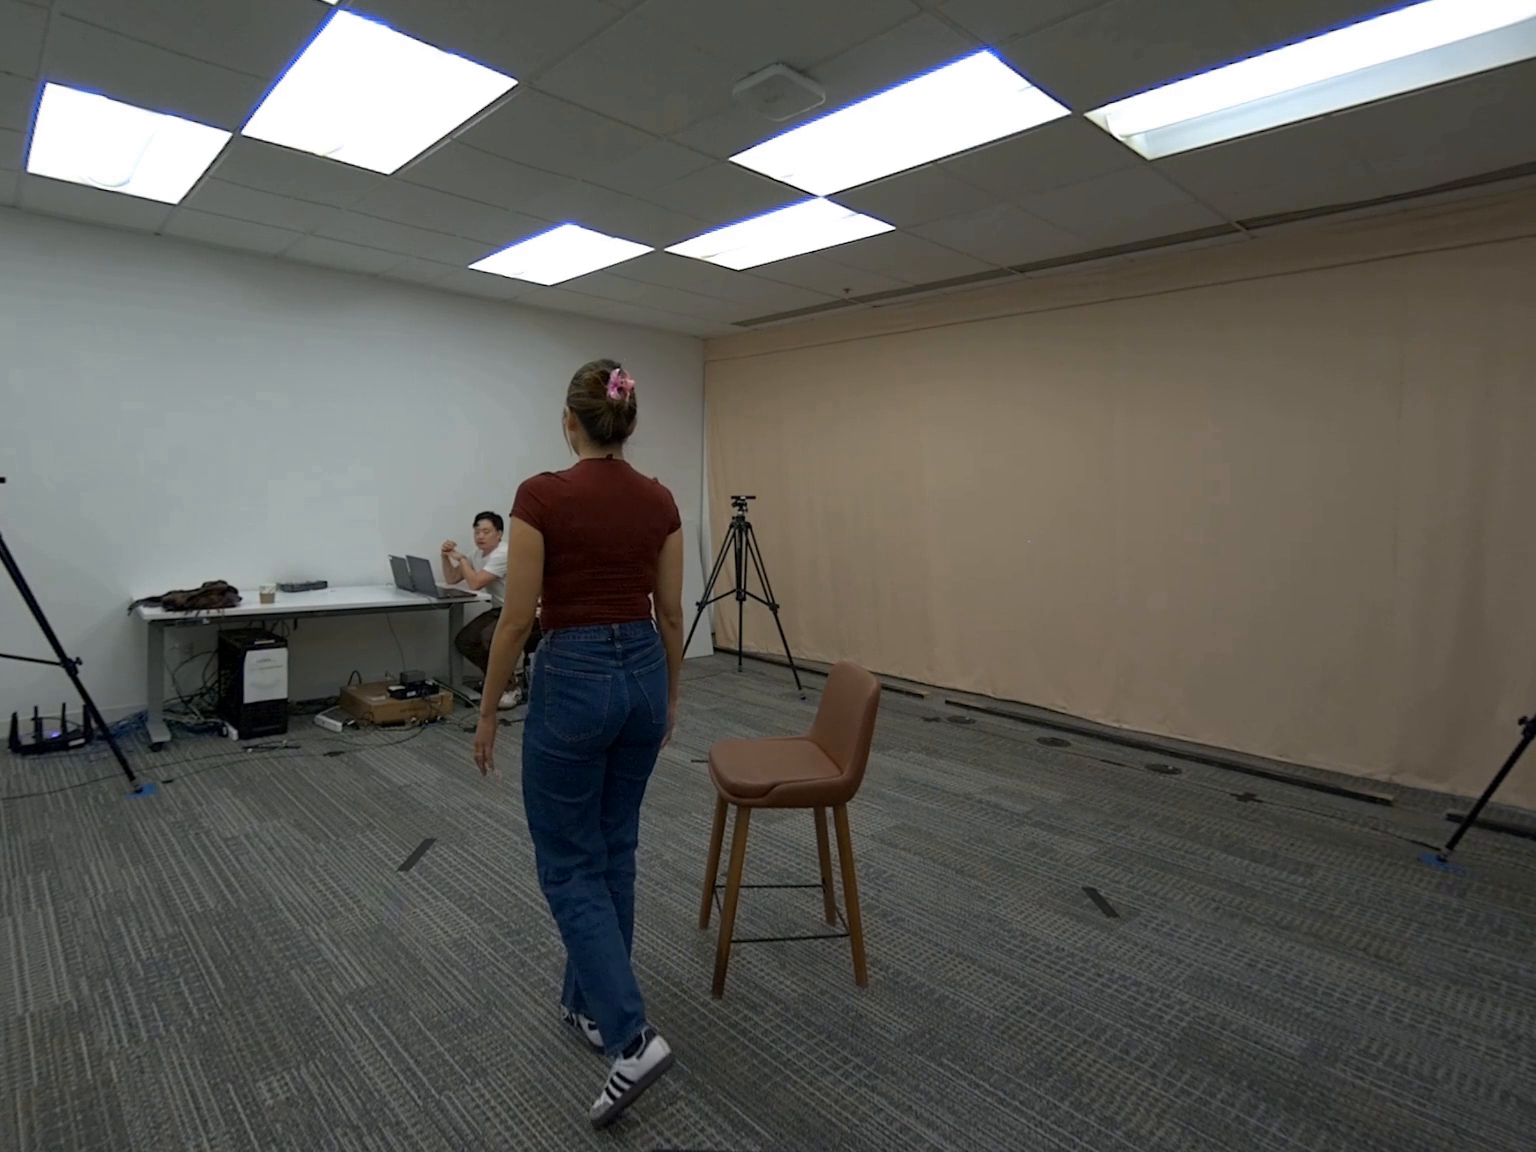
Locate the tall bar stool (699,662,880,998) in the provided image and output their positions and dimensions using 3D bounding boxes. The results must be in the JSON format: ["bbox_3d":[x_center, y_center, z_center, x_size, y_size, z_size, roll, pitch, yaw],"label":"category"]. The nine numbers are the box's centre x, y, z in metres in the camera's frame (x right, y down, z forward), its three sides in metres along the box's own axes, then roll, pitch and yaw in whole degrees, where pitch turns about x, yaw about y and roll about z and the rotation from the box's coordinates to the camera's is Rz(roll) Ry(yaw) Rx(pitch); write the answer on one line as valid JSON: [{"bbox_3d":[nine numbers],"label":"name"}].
[{"bbox_3d":[0.049,0.726,2.533,0.464,0.887,0.461,3,4,-10],"label":"tall bar stool"}]
